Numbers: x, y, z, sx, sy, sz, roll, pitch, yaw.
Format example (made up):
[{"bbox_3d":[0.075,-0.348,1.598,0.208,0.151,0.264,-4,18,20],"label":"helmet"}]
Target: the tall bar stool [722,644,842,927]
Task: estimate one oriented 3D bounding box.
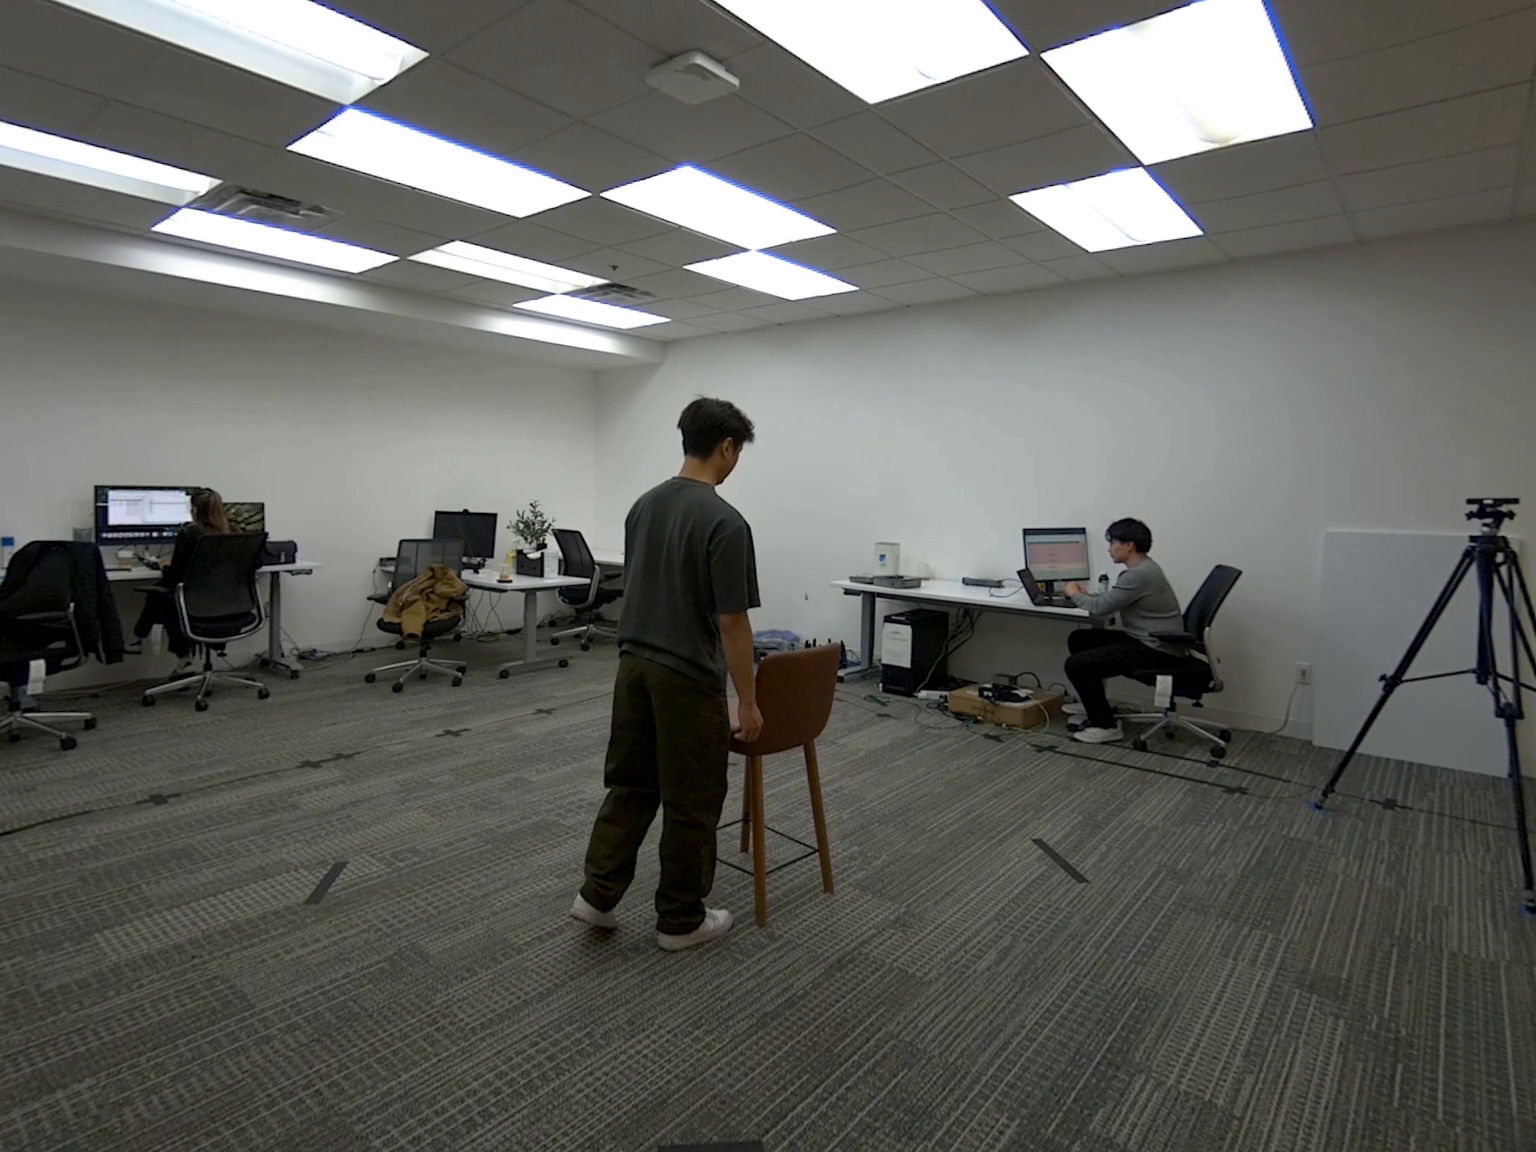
[{"bbox_3d":[-0.052,0.650,2.966,0.484,0.886,0.442,7,6,44],"label":"tall bar stool"}]
